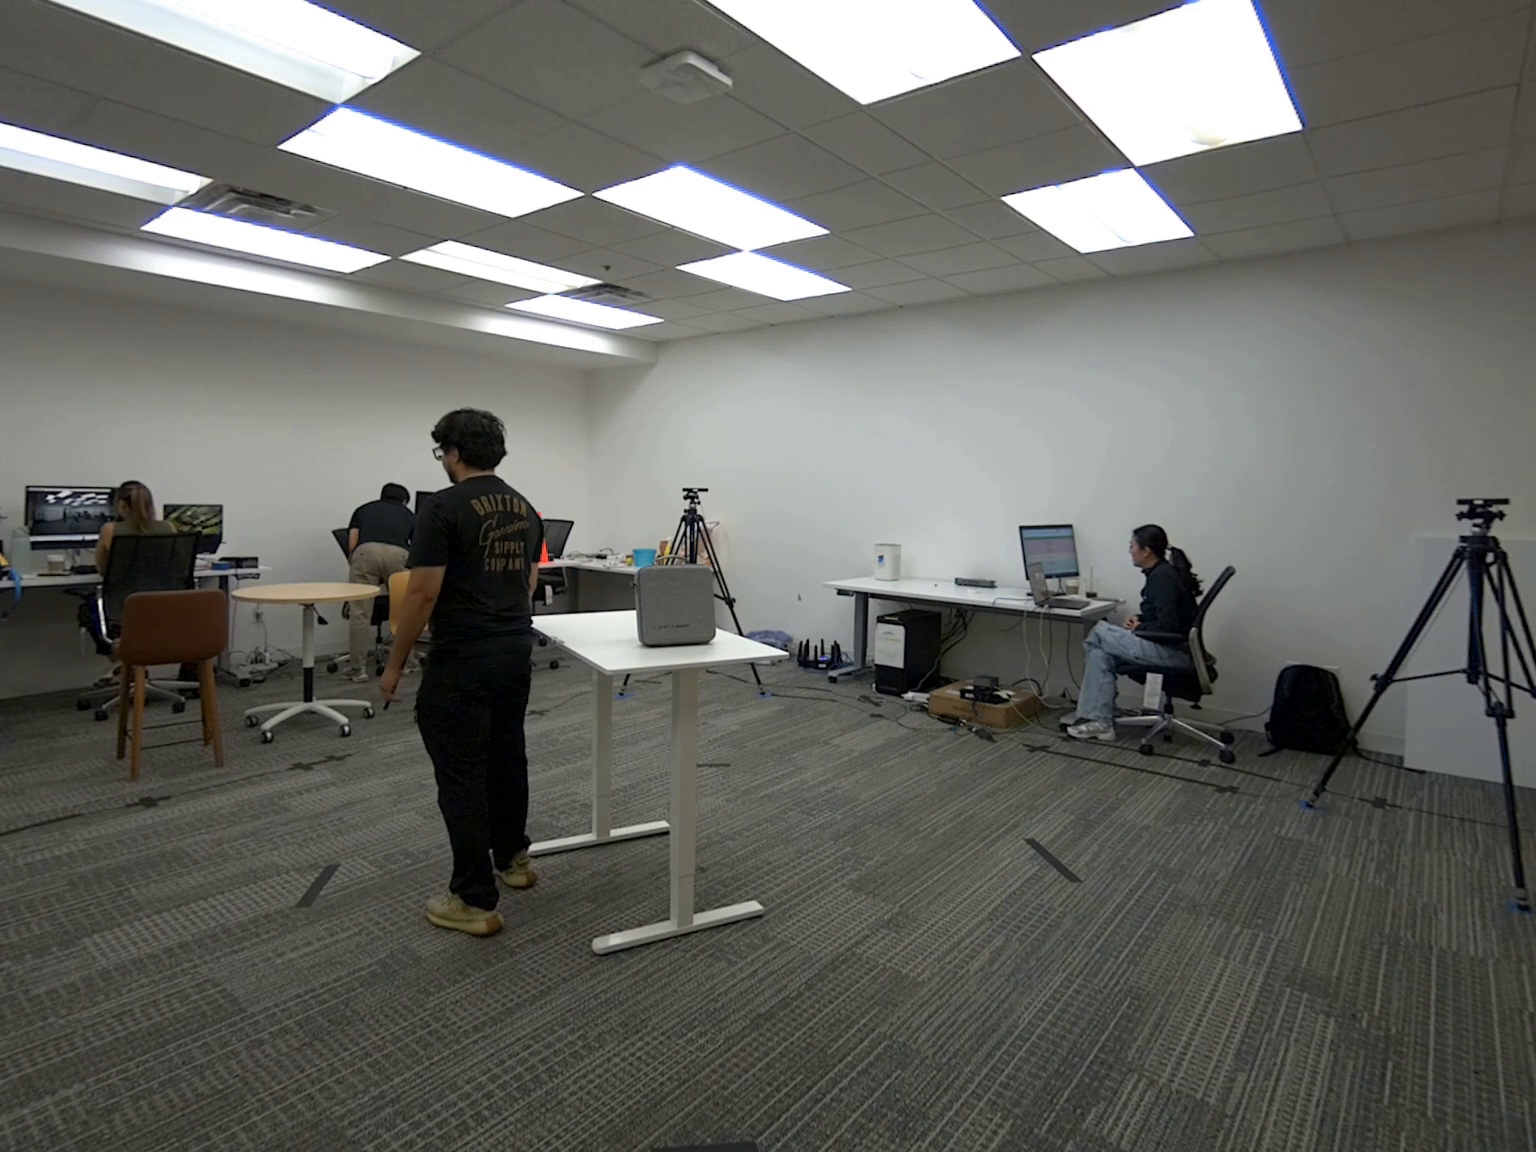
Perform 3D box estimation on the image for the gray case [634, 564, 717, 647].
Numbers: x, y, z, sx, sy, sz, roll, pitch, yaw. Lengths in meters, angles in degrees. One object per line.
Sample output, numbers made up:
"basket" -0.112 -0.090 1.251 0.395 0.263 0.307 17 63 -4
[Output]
"gray case" -0.315 0.089 2.770 0.252 0.261 0.106 -2 -3 -18
